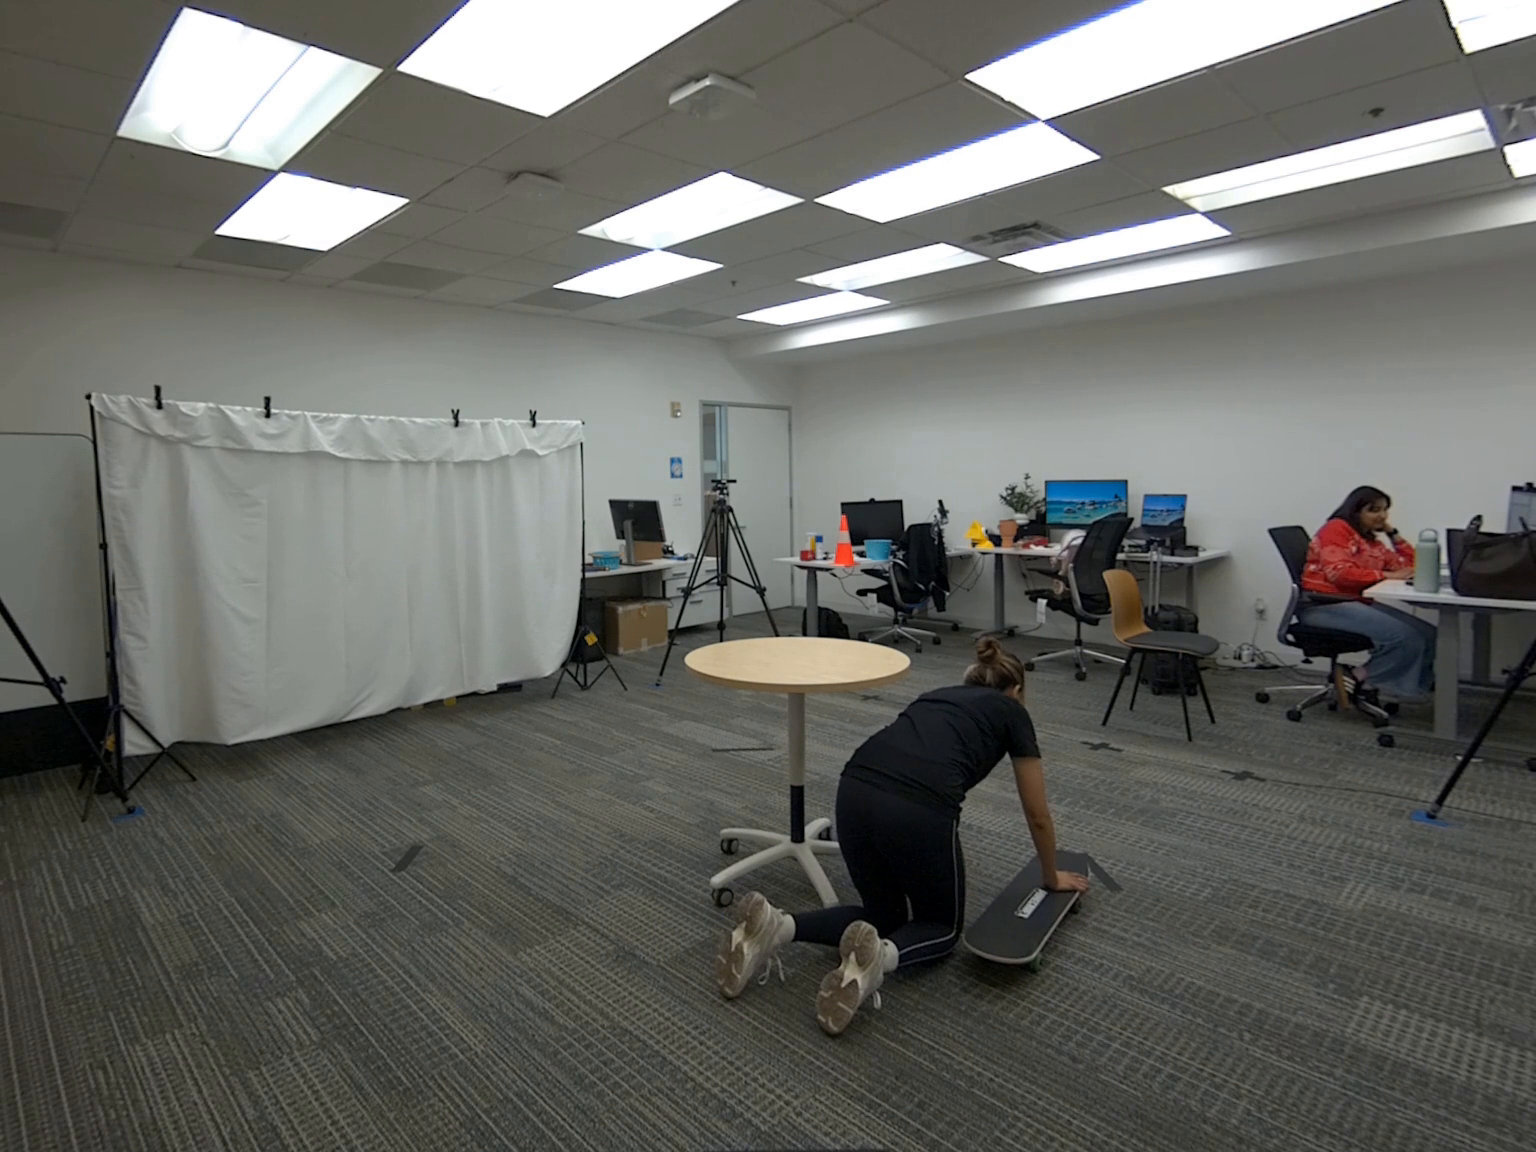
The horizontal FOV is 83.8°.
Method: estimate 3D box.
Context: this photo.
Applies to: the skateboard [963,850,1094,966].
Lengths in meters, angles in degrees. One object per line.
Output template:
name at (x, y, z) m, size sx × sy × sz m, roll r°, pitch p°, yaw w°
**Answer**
skateboard at (0.806, 1.026, 2.623) m, size 0.199 × 0.110 × 0.766 m, roll 7°, pitch 9°, yaw 36°
